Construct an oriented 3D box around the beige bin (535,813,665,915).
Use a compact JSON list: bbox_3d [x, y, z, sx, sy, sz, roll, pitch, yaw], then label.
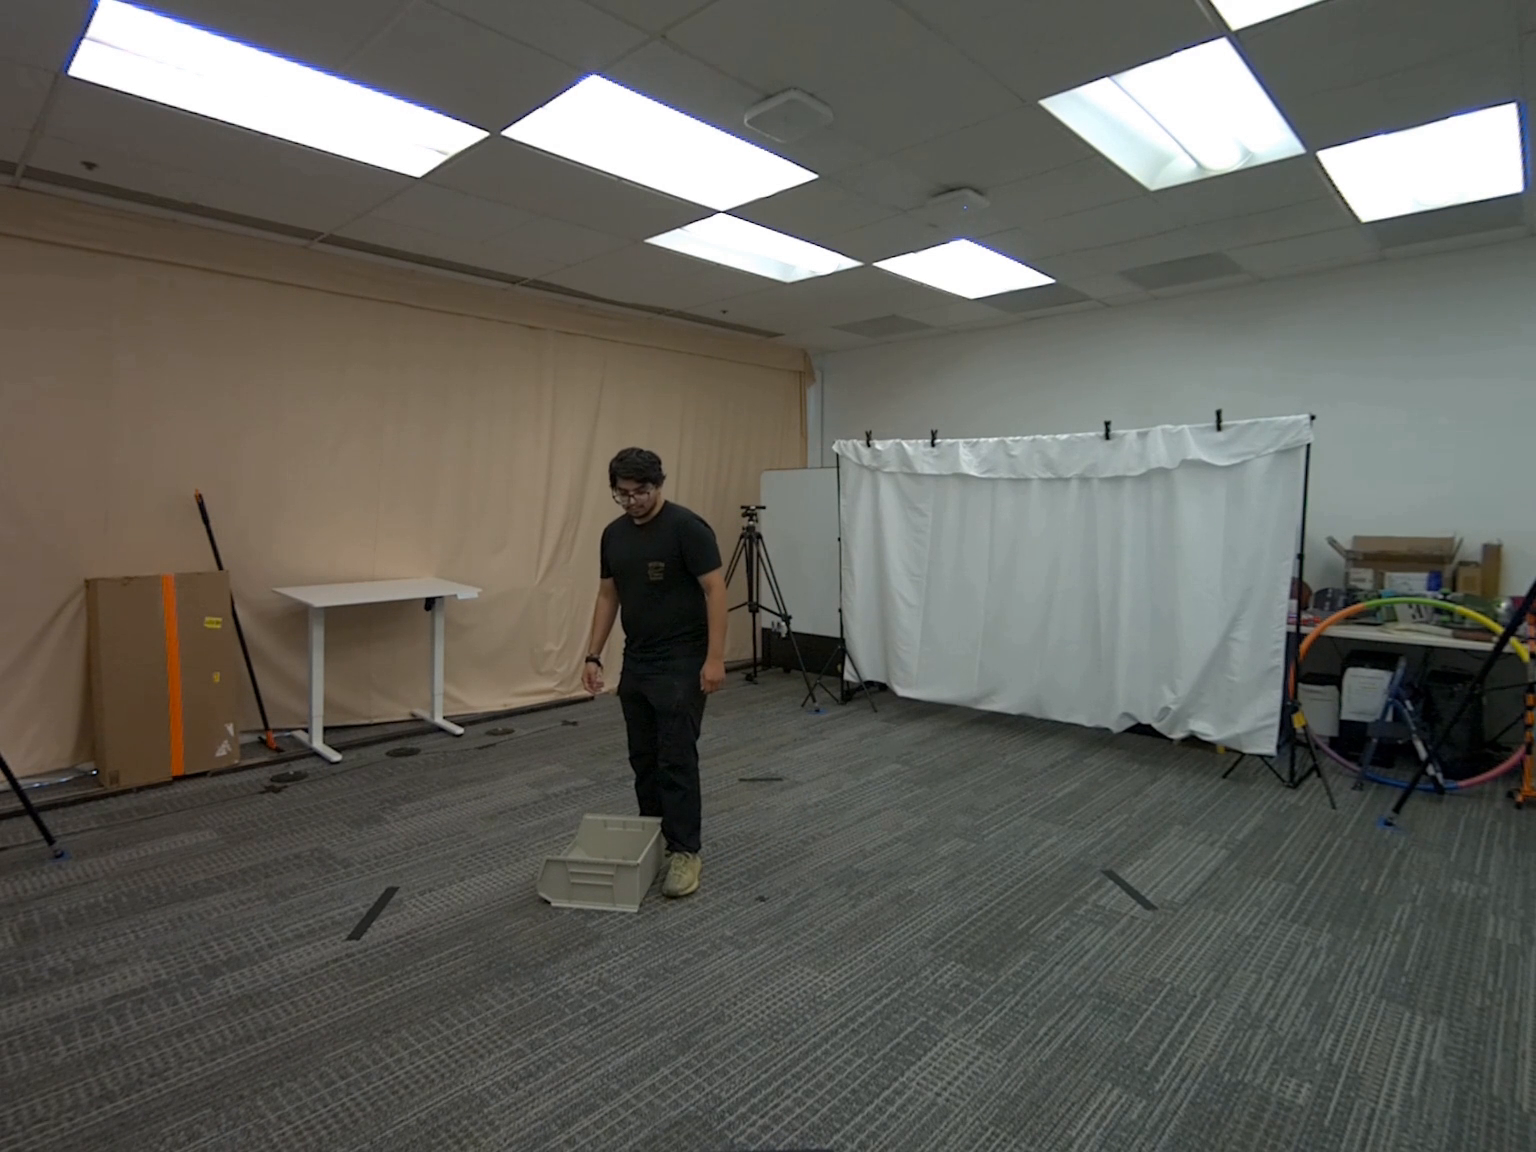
[{"bbox_3d":[-0.601,1.047,3.114,0.382,0.188,0.418,1,4,10],"label":"beige bin"}]
